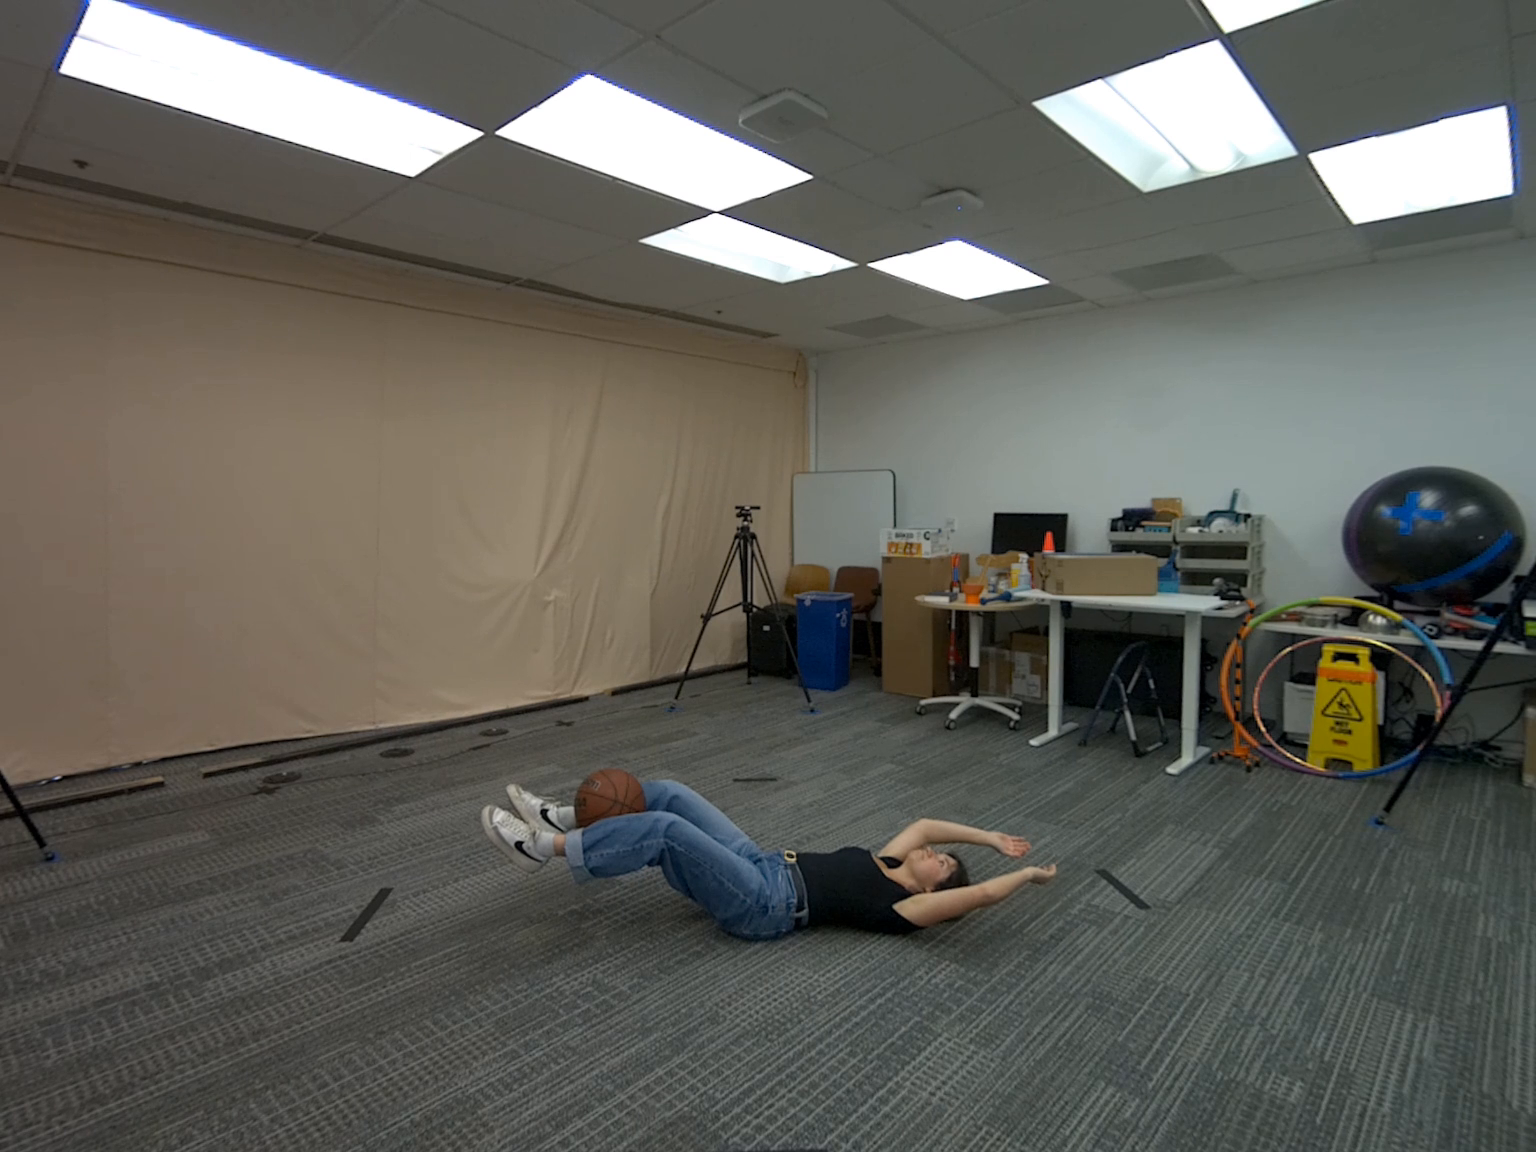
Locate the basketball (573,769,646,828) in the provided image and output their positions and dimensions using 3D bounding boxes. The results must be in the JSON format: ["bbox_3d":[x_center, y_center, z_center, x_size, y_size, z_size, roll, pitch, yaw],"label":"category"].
[{"bbox_3d":[-0.520,0.760,2.804,0.236,0.235,0.237,0,4,-2],"label":"basketball"}]
